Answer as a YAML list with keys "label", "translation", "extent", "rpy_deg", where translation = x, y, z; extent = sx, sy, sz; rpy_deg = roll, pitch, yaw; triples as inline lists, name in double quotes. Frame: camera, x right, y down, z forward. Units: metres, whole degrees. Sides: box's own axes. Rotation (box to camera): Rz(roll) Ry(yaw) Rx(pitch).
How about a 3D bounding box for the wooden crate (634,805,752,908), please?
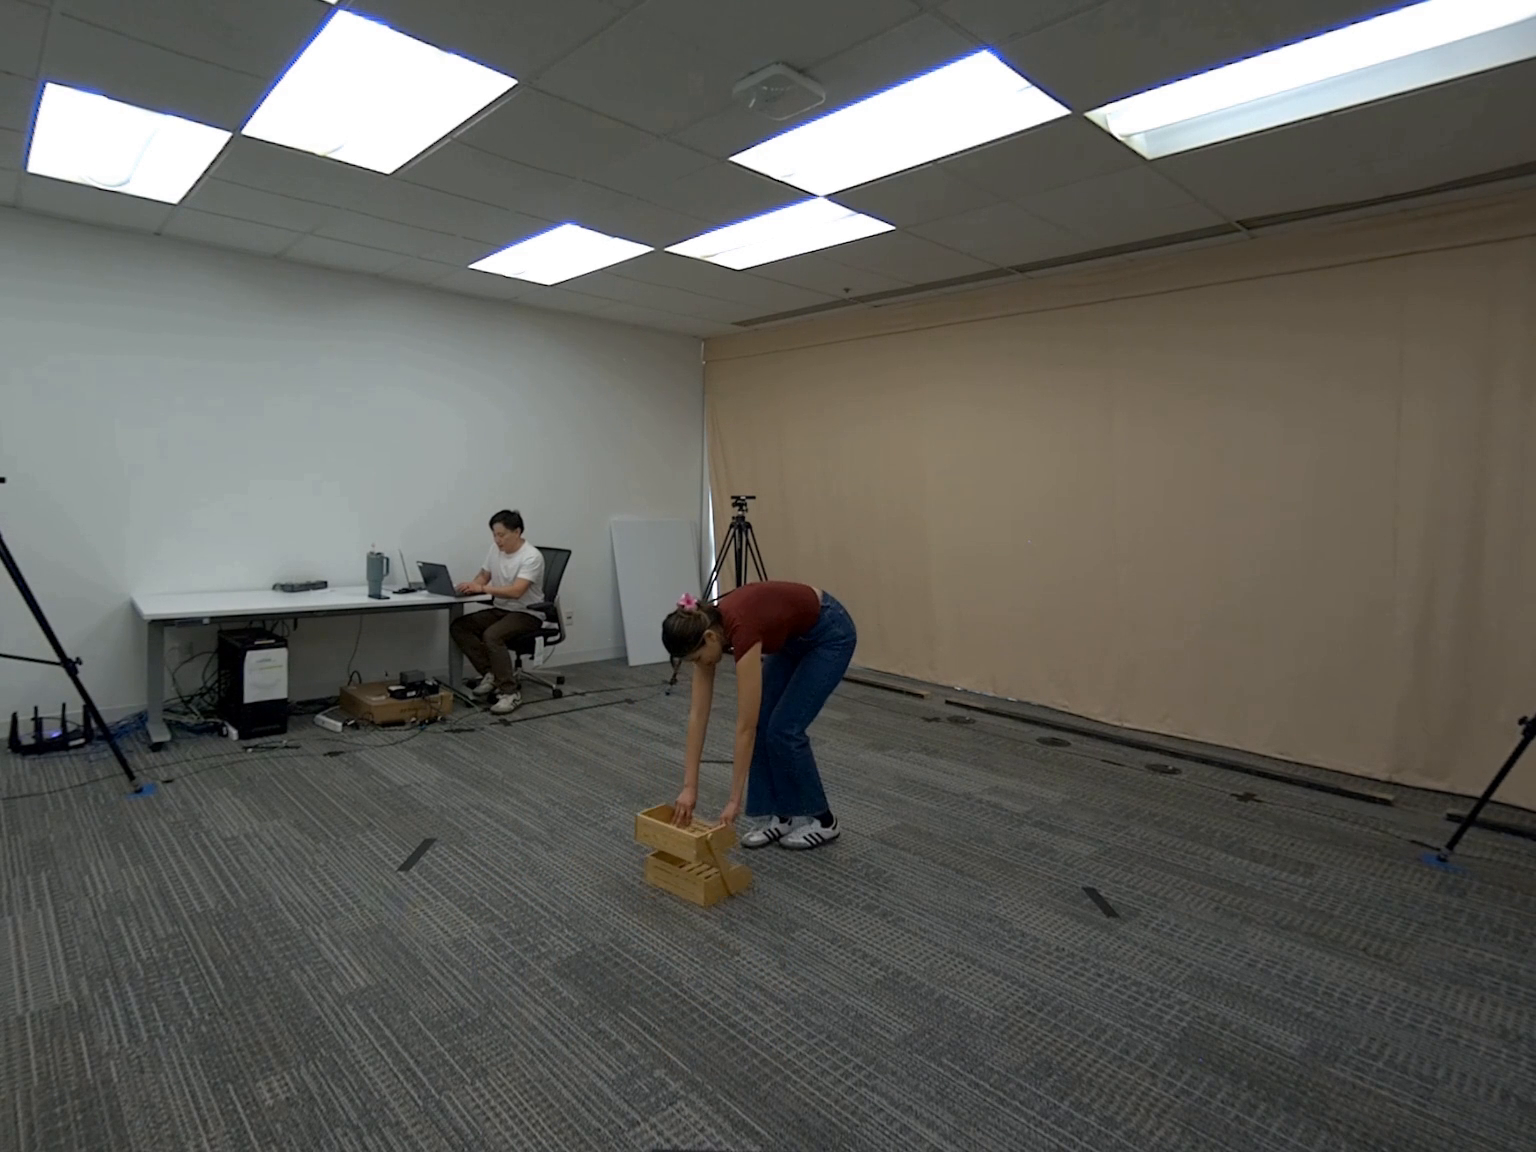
- label: "wooden crate"
  translation: [-0.268, 0.974, 3.009]
  extent: [0.332, 0.272, 0.295]
  rpy_deg: [5, 6, 40]
